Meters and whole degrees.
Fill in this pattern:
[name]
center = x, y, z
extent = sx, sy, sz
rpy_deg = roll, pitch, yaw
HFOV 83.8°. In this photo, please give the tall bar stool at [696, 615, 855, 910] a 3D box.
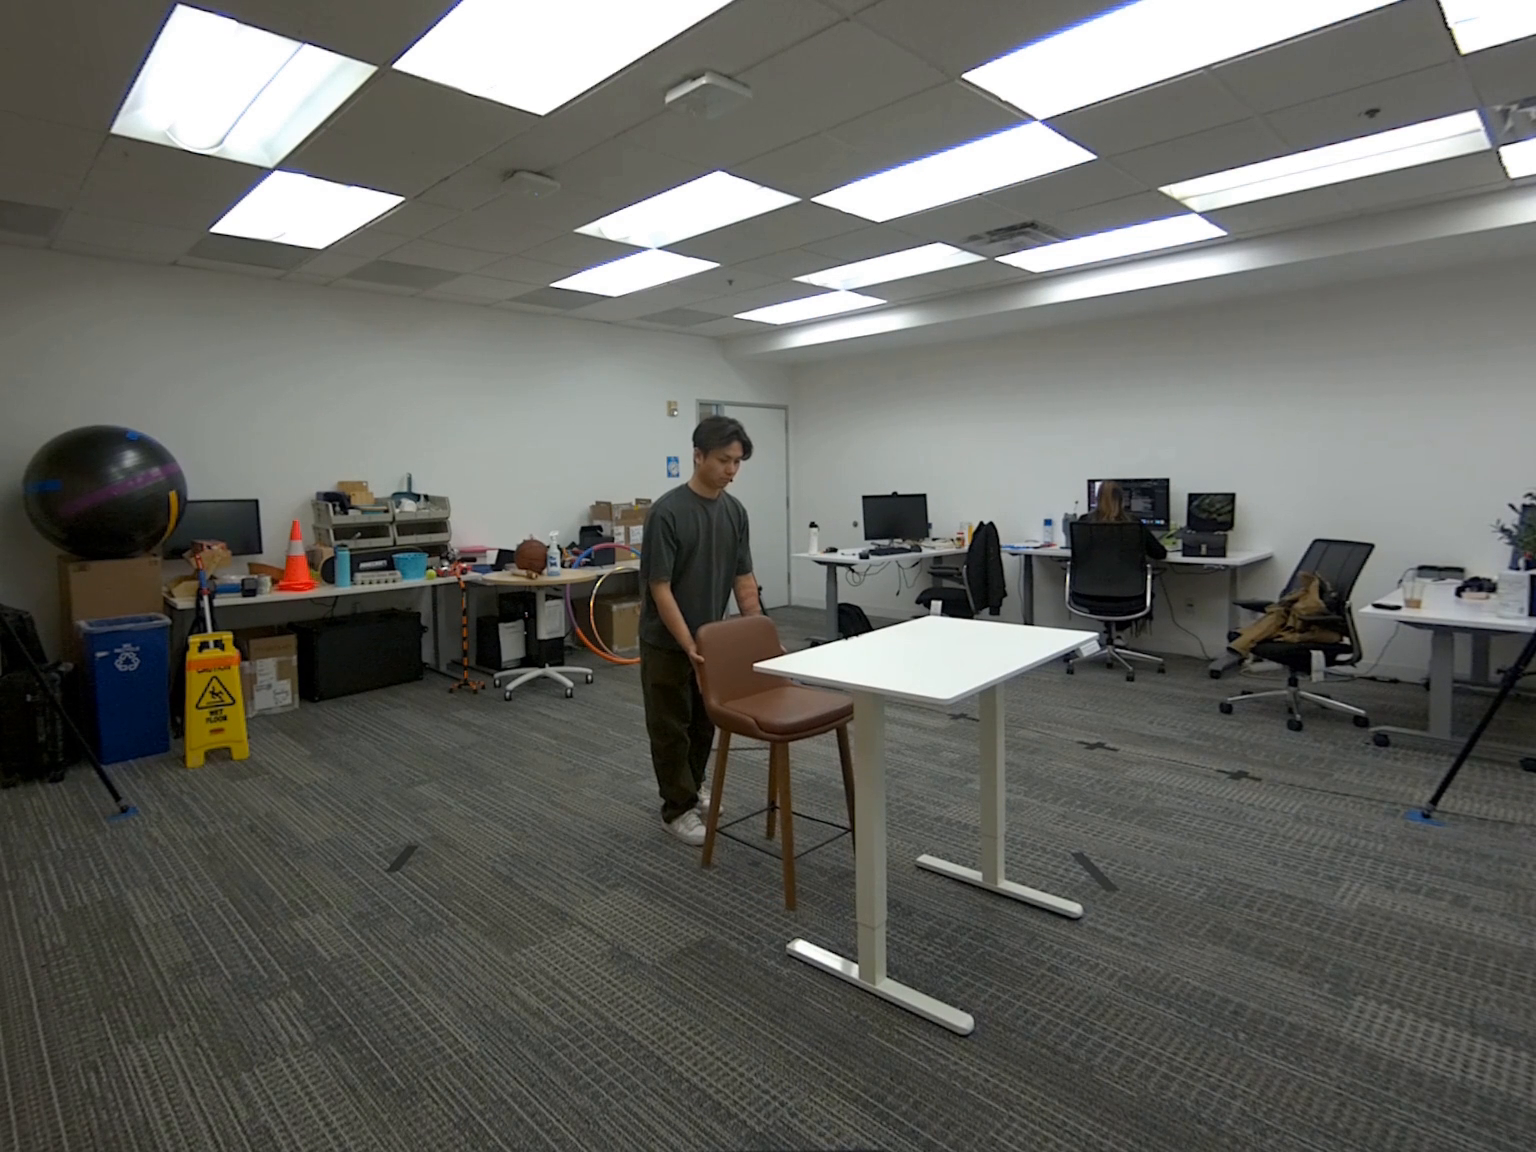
[tall bar stool]
center = 0.038, 0.611, 3.035
extent = 0.481, 0.888, 0.444
rpy_deg = 0, 3, 44
